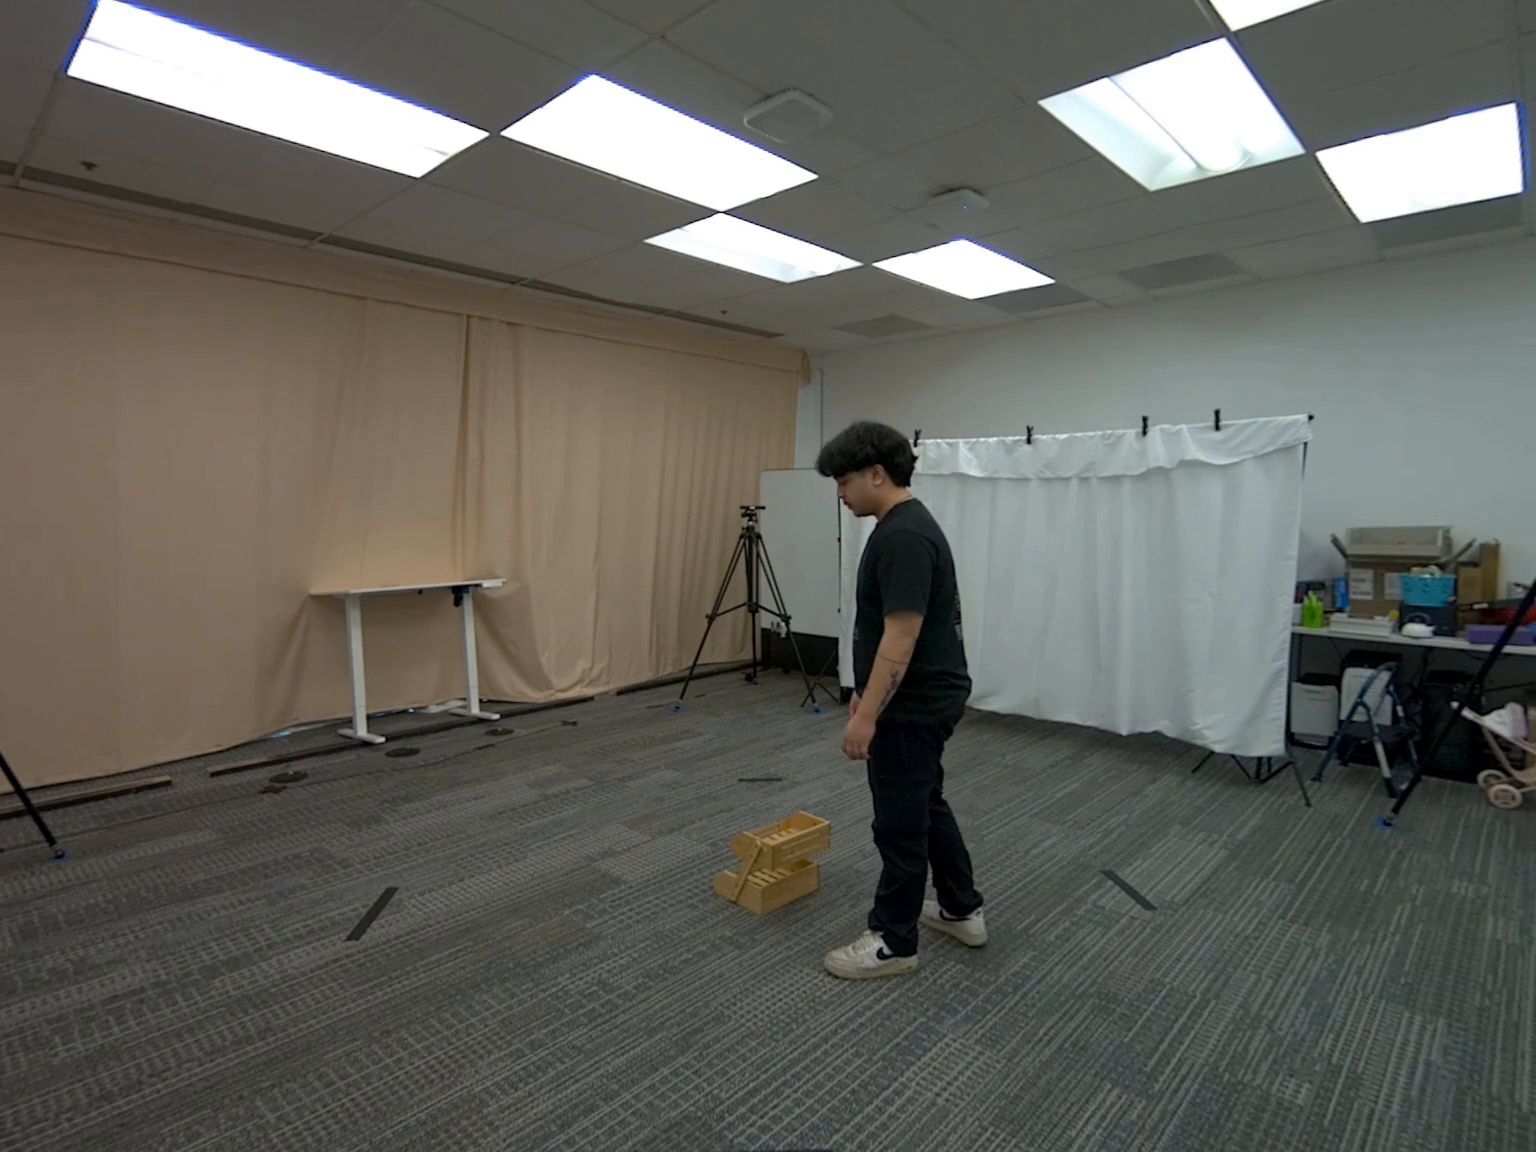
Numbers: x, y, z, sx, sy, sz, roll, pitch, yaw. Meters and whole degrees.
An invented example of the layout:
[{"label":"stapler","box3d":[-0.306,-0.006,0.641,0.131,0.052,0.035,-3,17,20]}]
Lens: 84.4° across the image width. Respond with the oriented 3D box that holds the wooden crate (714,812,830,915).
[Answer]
[{"label":"wooden crate","box3d":[0.013,1.006,3.029,0.314,0.272,0.312,-4,6,-44]}]
